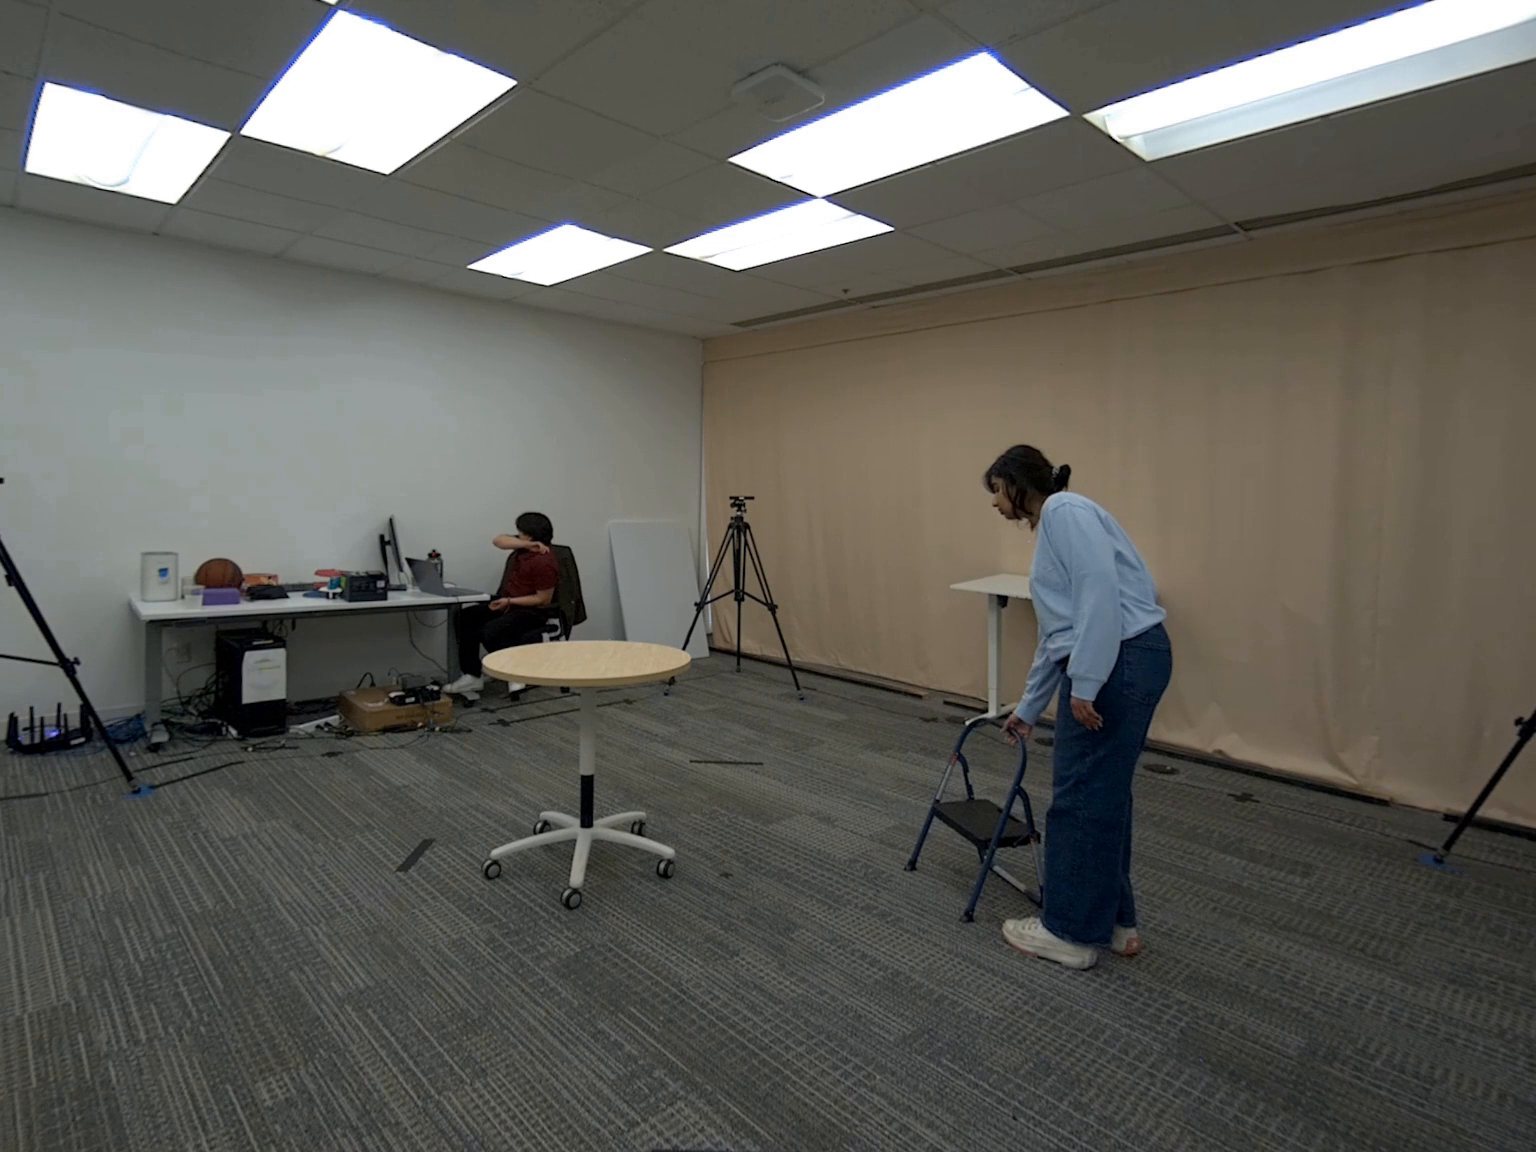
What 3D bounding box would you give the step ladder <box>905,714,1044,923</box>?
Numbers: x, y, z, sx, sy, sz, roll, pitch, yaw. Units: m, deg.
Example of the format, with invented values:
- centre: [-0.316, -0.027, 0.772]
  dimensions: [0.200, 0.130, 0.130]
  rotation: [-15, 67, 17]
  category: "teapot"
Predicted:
- centre: [0.750, 0.830, 3.032]
  dimensions: [0.344, 0.604, 0.437]
  rotation: [1, 4, -18]
  category: "step ladder"
